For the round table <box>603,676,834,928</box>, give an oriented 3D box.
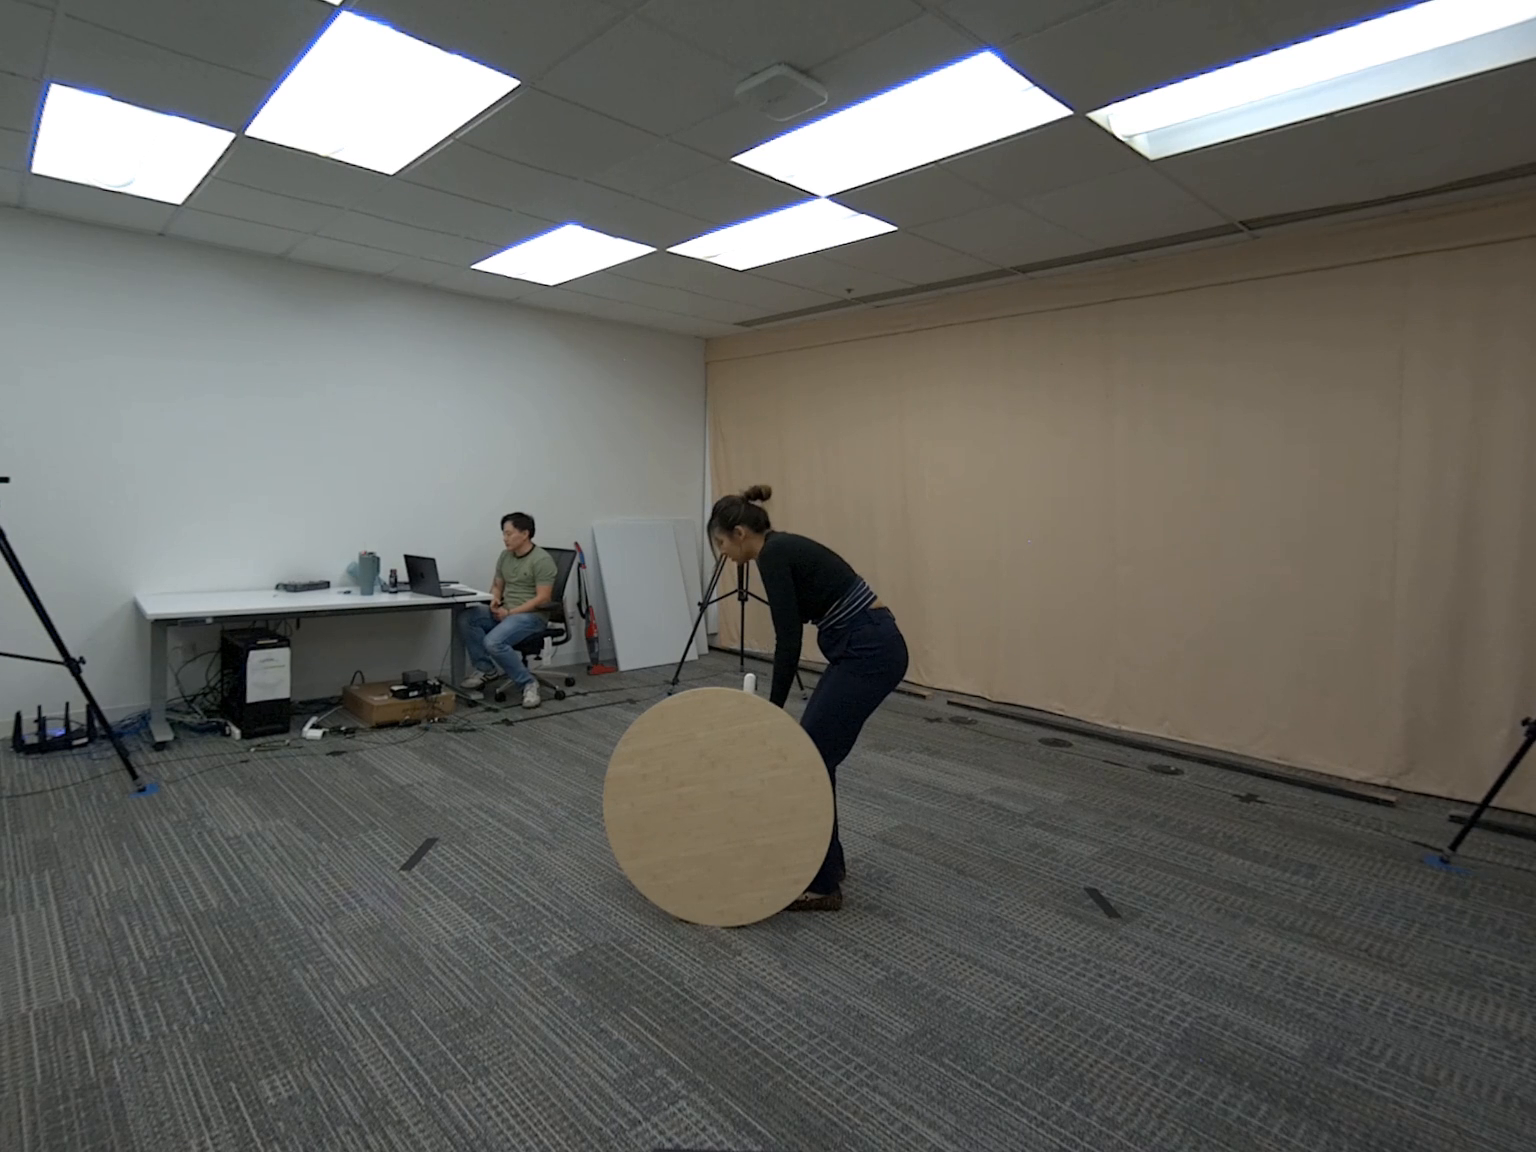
[{"bbox_3d":[-0.129,0.760,3.133,0.769,0.764,0.788,2,0,7],"label":"round table"}]
